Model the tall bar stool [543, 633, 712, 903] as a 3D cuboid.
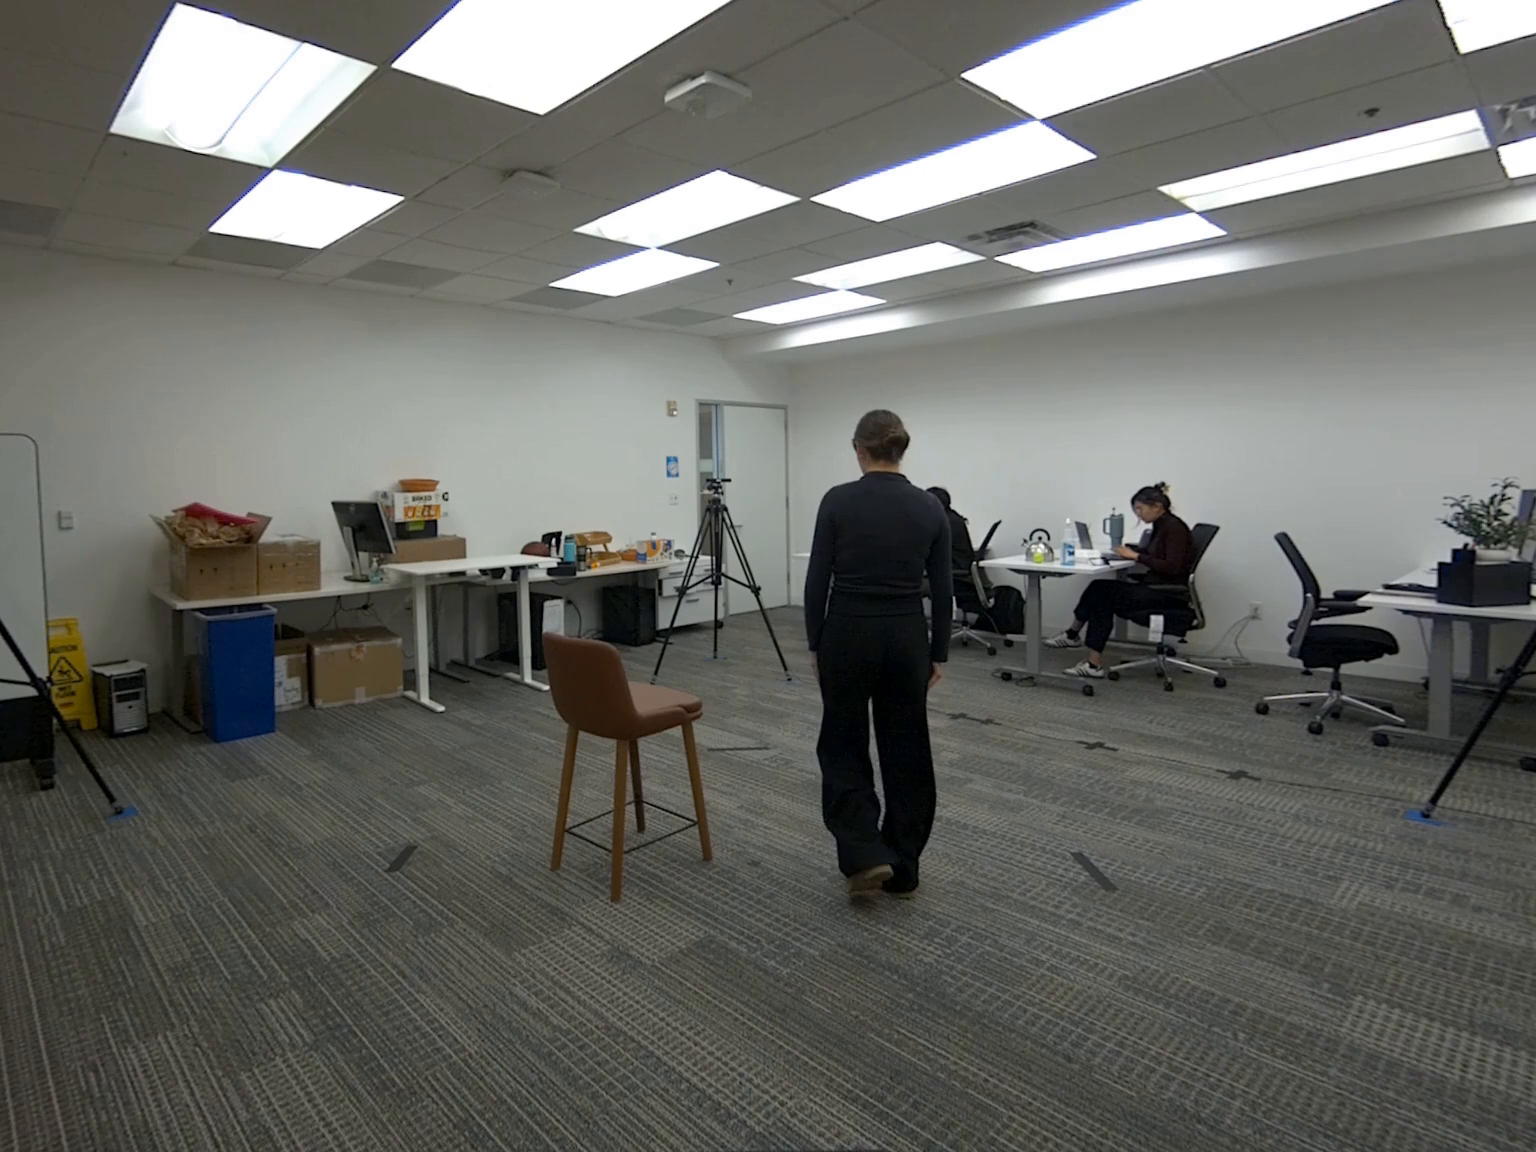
[{"bbox_3d":[-0.518,0.620,3.092,0.470,0.885,0.456,3,8,43],"label":"tall bar stool"}]
